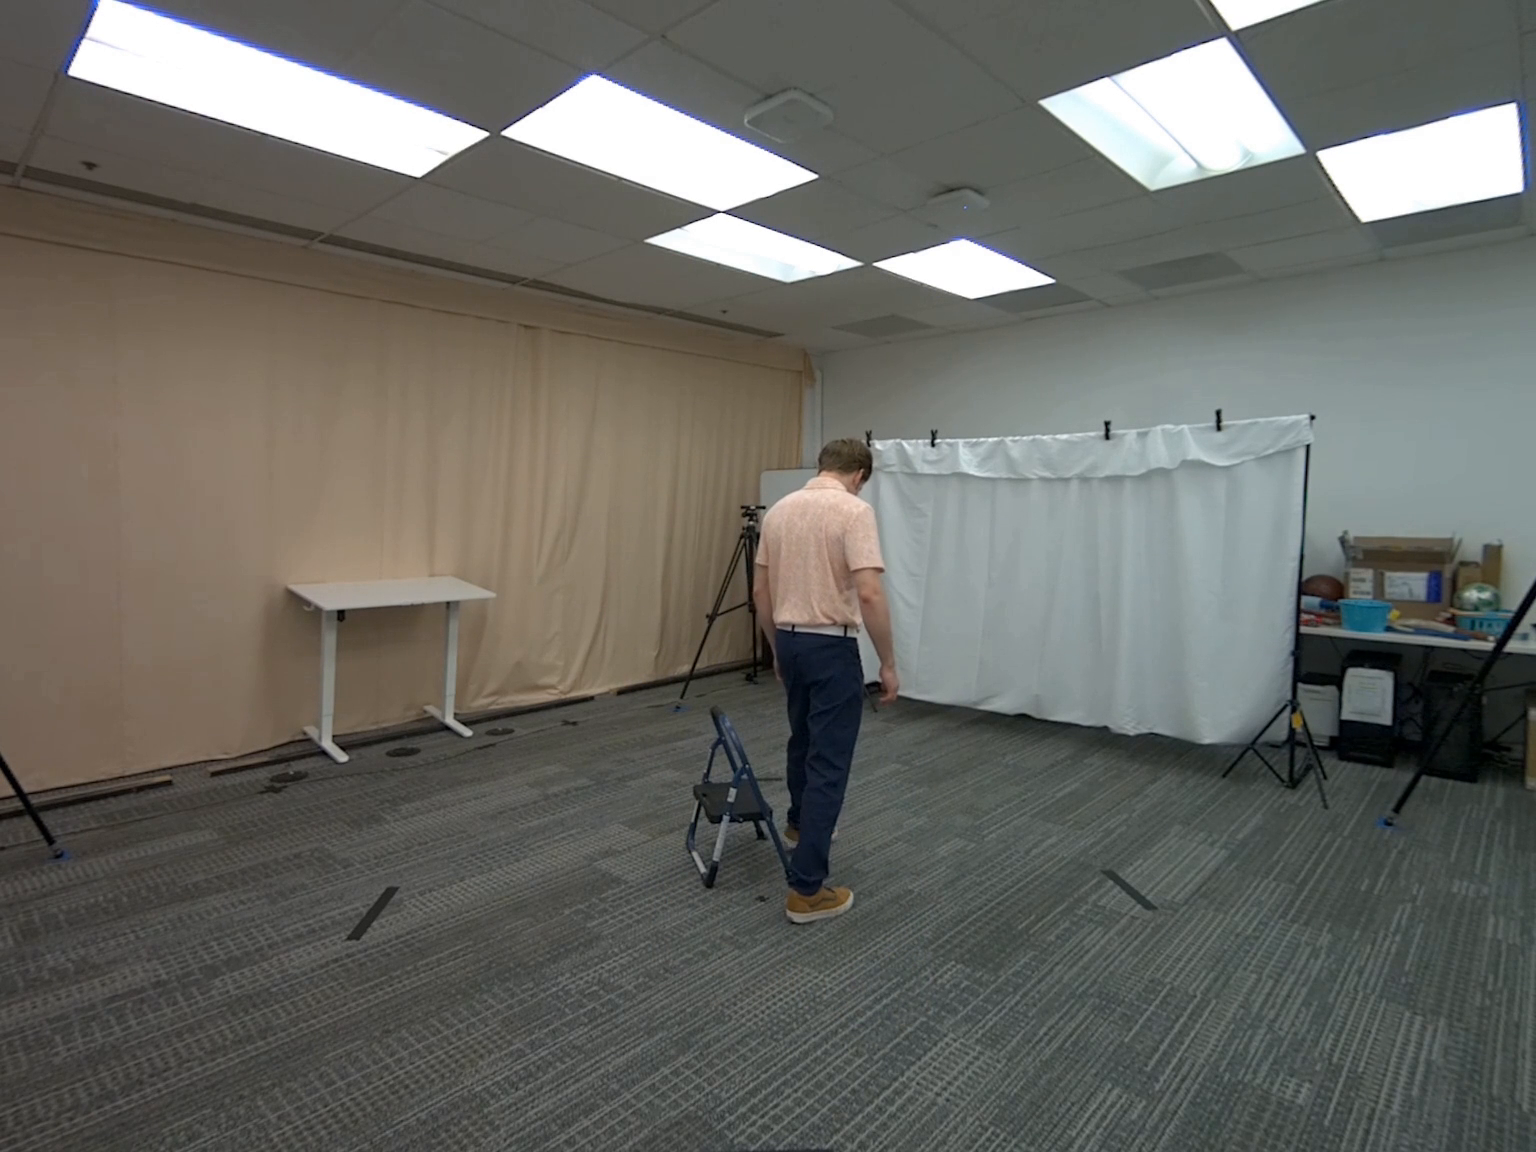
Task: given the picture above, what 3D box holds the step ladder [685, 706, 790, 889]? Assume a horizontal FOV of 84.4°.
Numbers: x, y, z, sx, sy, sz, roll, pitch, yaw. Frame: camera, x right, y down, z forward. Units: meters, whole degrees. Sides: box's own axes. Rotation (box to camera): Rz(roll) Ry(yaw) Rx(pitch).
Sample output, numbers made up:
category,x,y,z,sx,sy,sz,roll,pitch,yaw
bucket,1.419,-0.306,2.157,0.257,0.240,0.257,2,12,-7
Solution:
category,x,y,z,sx,sy,sz,roll,pitch,yaw
step ladder,-0.118,0.818,3.285,0.344,0.605,0.438,-1,3,-16
